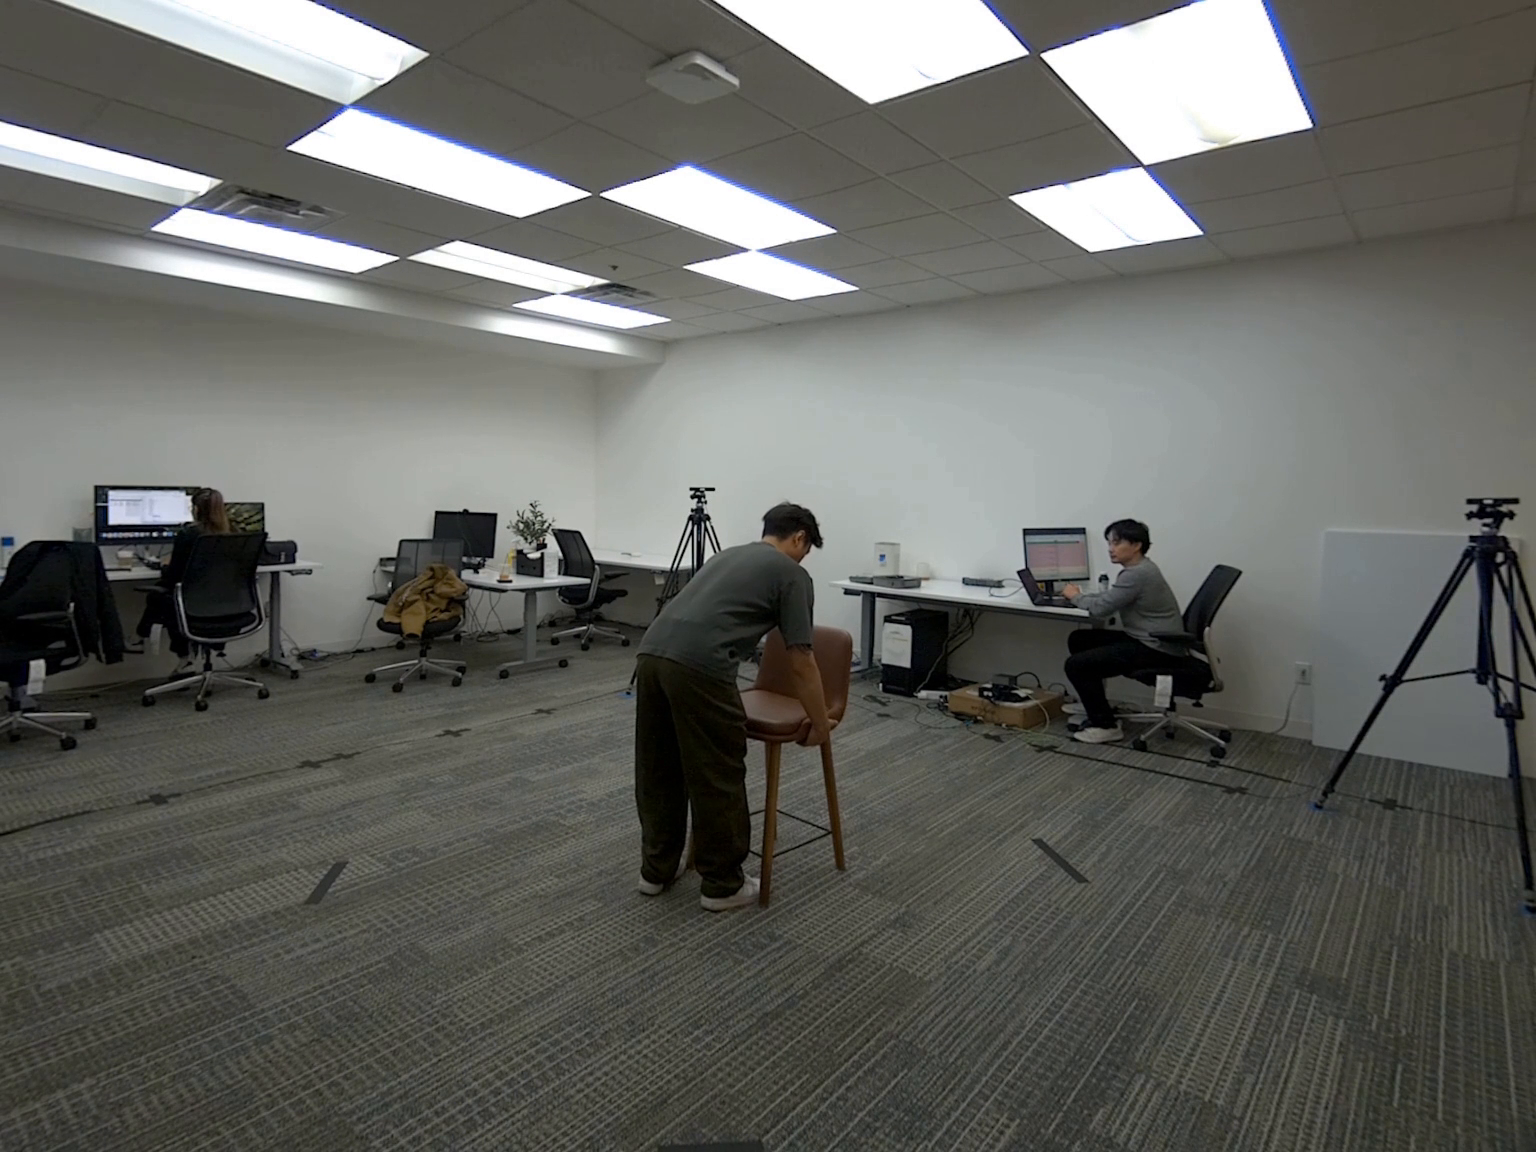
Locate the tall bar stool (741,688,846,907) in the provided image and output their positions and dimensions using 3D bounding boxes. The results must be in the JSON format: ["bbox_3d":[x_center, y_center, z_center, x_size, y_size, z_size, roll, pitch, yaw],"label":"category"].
[{"bbox_3d":[0.005,0.636,3.108,0.452,0.889,0.472,1,2,-44],"label":"tall bar stool"}]
